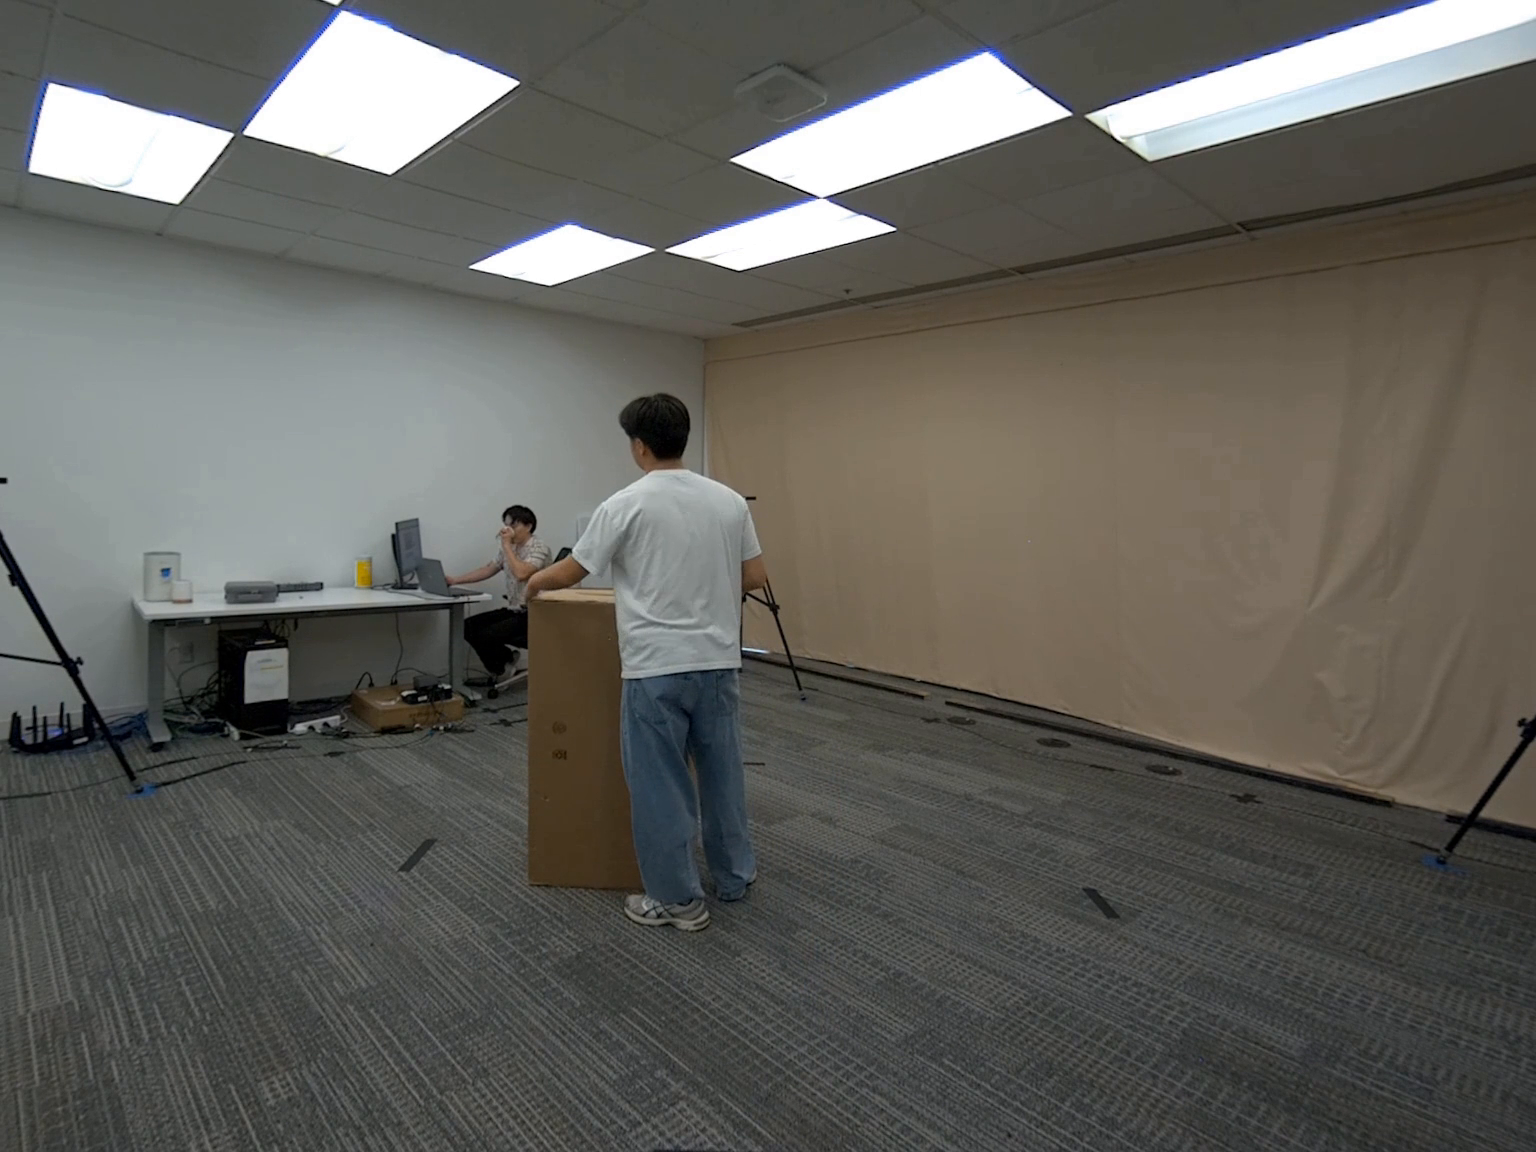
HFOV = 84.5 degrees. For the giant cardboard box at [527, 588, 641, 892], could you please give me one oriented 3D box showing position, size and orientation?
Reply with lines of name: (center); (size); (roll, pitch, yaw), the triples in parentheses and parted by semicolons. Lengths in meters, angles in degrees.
giant cardboard box: (-0.568, 0.580, 3.161); (0.579, 1.023, 0.426); (2, 3, 3)
